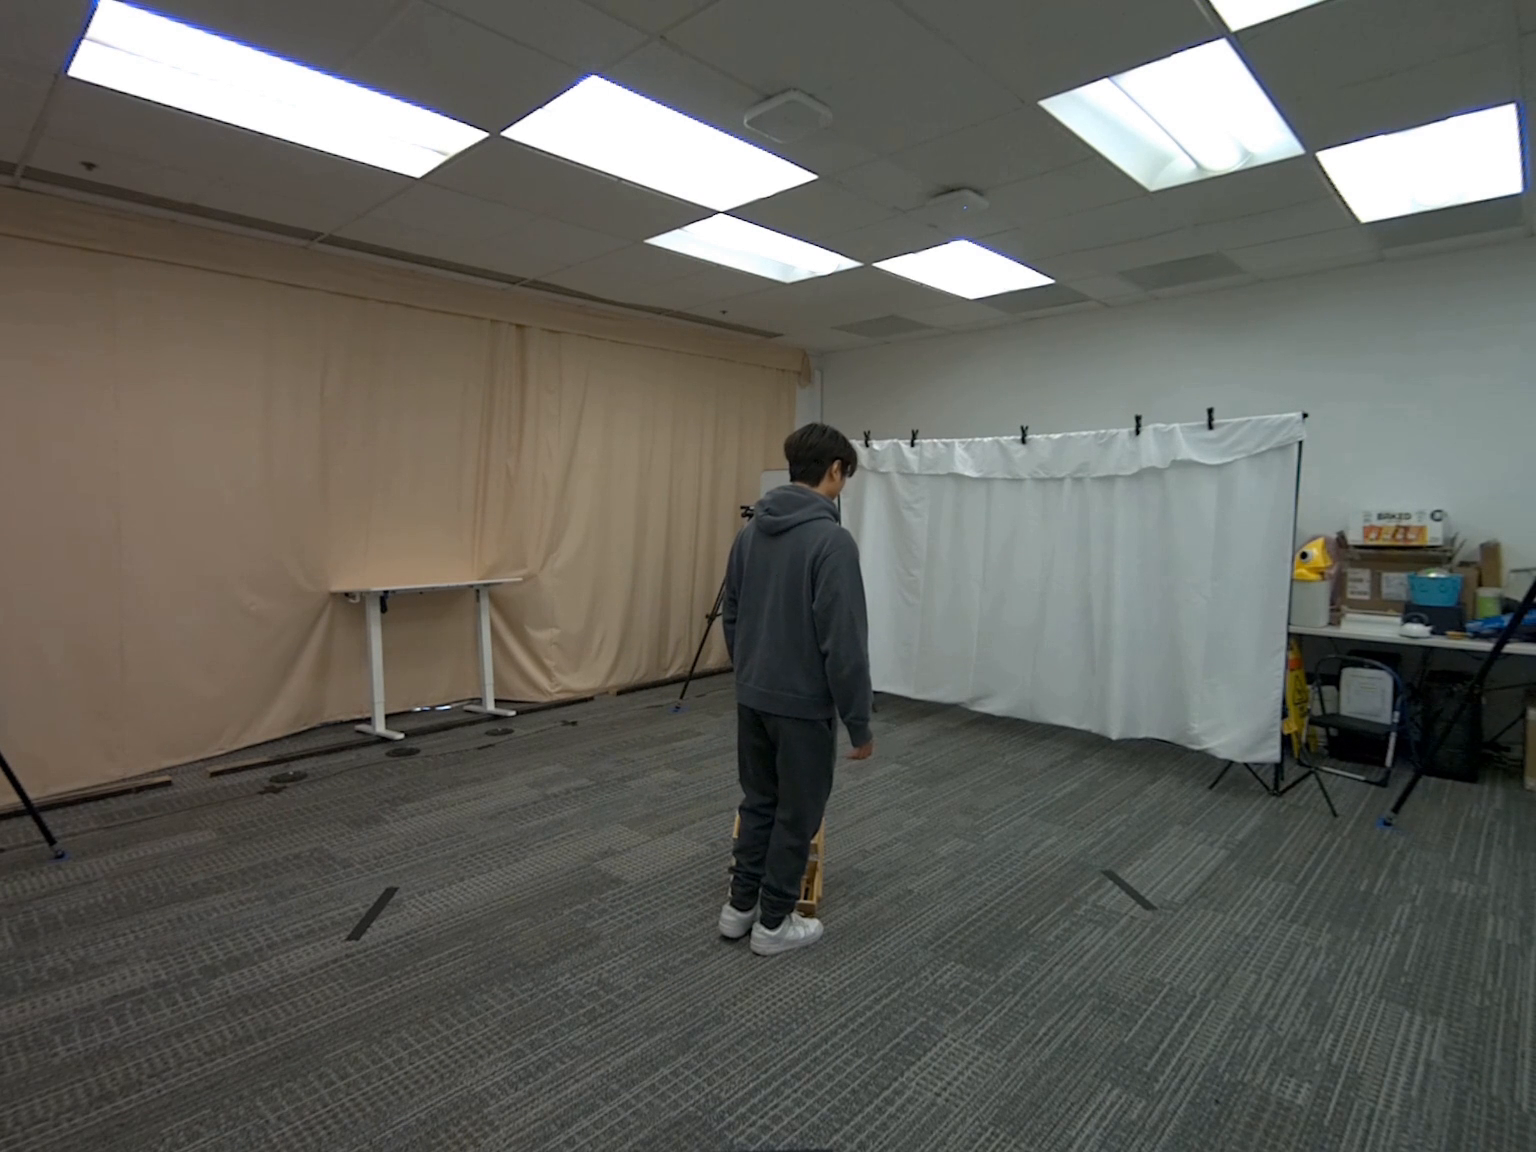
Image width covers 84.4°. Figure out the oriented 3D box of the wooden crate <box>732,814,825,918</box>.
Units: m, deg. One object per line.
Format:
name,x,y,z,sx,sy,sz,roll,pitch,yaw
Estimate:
wooden crate,0.040,1.010,3.013,0.328,0.273,0.299,0,3,8
